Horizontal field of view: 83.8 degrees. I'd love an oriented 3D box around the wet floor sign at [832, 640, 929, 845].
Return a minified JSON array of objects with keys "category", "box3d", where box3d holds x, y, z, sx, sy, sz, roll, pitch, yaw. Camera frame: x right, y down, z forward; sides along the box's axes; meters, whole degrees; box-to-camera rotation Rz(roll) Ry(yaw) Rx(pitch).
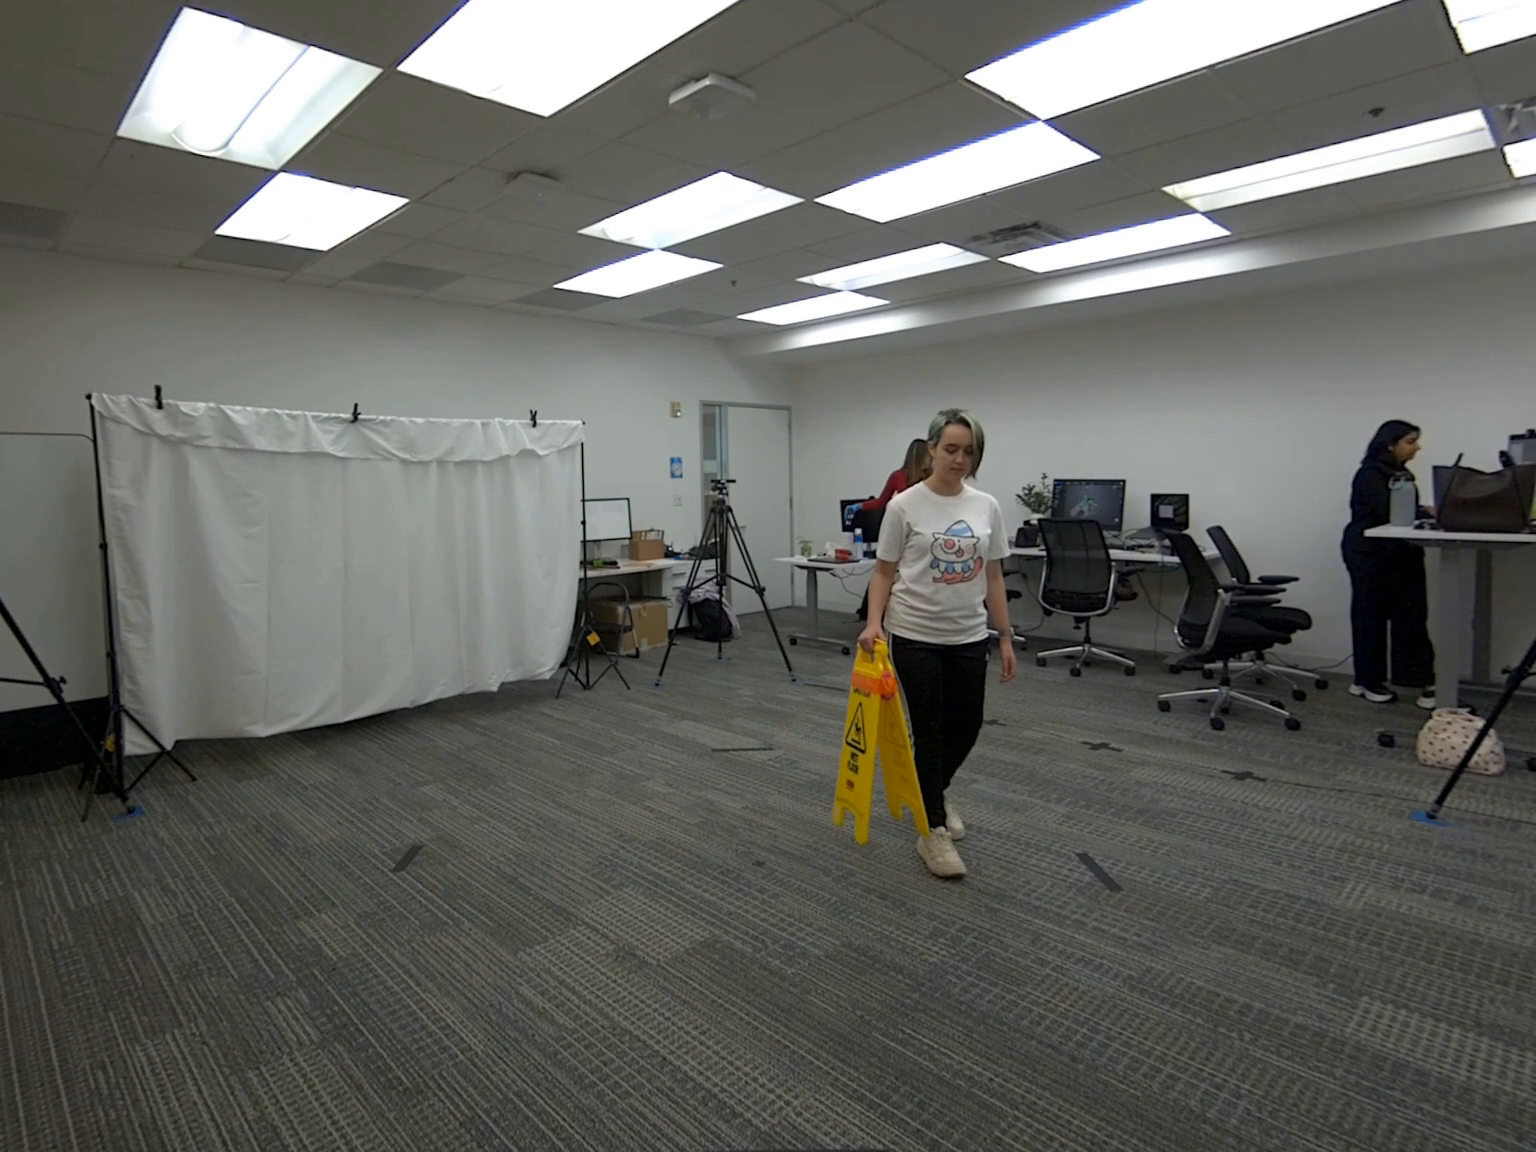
[{"category":"wet floor sign","box3d":[0.371,0.544,2.935,0.286,0.648,0.285,-3,-3,-15]}]
